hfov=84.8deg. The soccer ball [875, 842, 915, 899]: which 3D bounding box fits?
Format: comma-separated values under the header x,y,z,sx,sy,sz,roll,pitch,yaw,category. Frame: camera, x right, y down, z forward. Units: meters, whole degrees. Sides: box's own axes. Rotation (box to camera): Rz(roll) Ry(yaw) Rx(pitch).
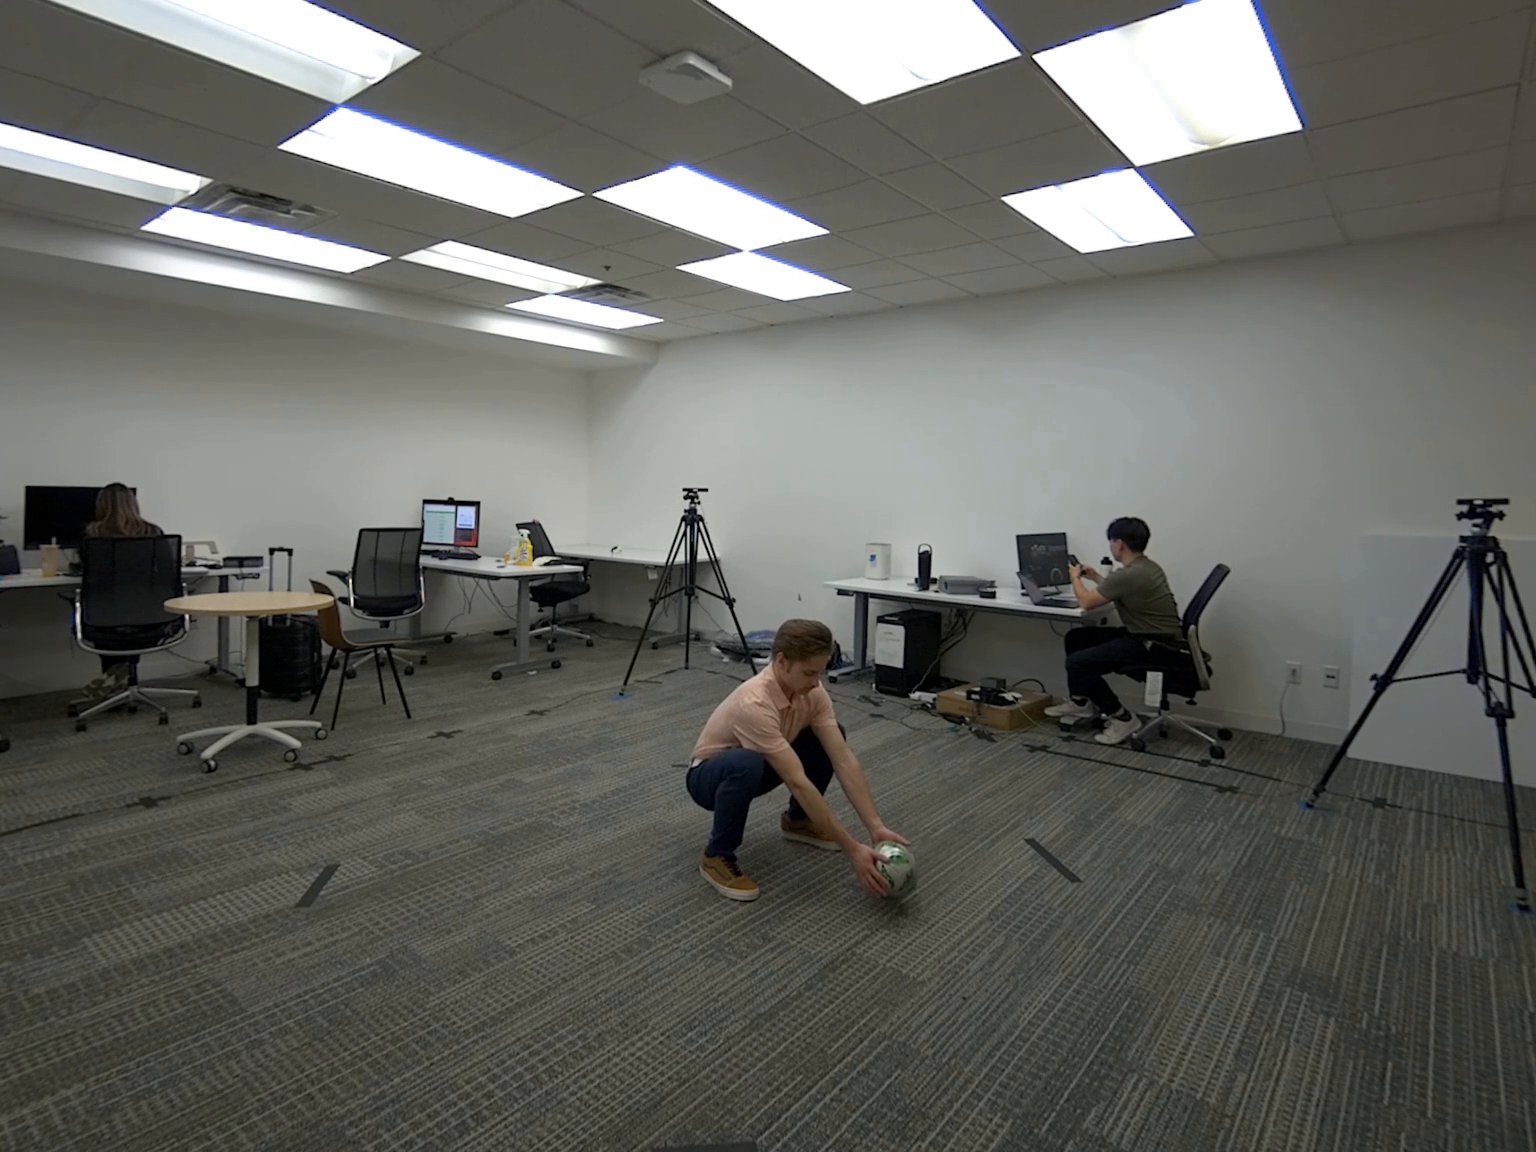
x,y,z,sx,sy,sz,roll,pitch,yaw,category
0.407,0.991,2.864,0.187,0.187,0.188,1,4,-2,soccer ball
